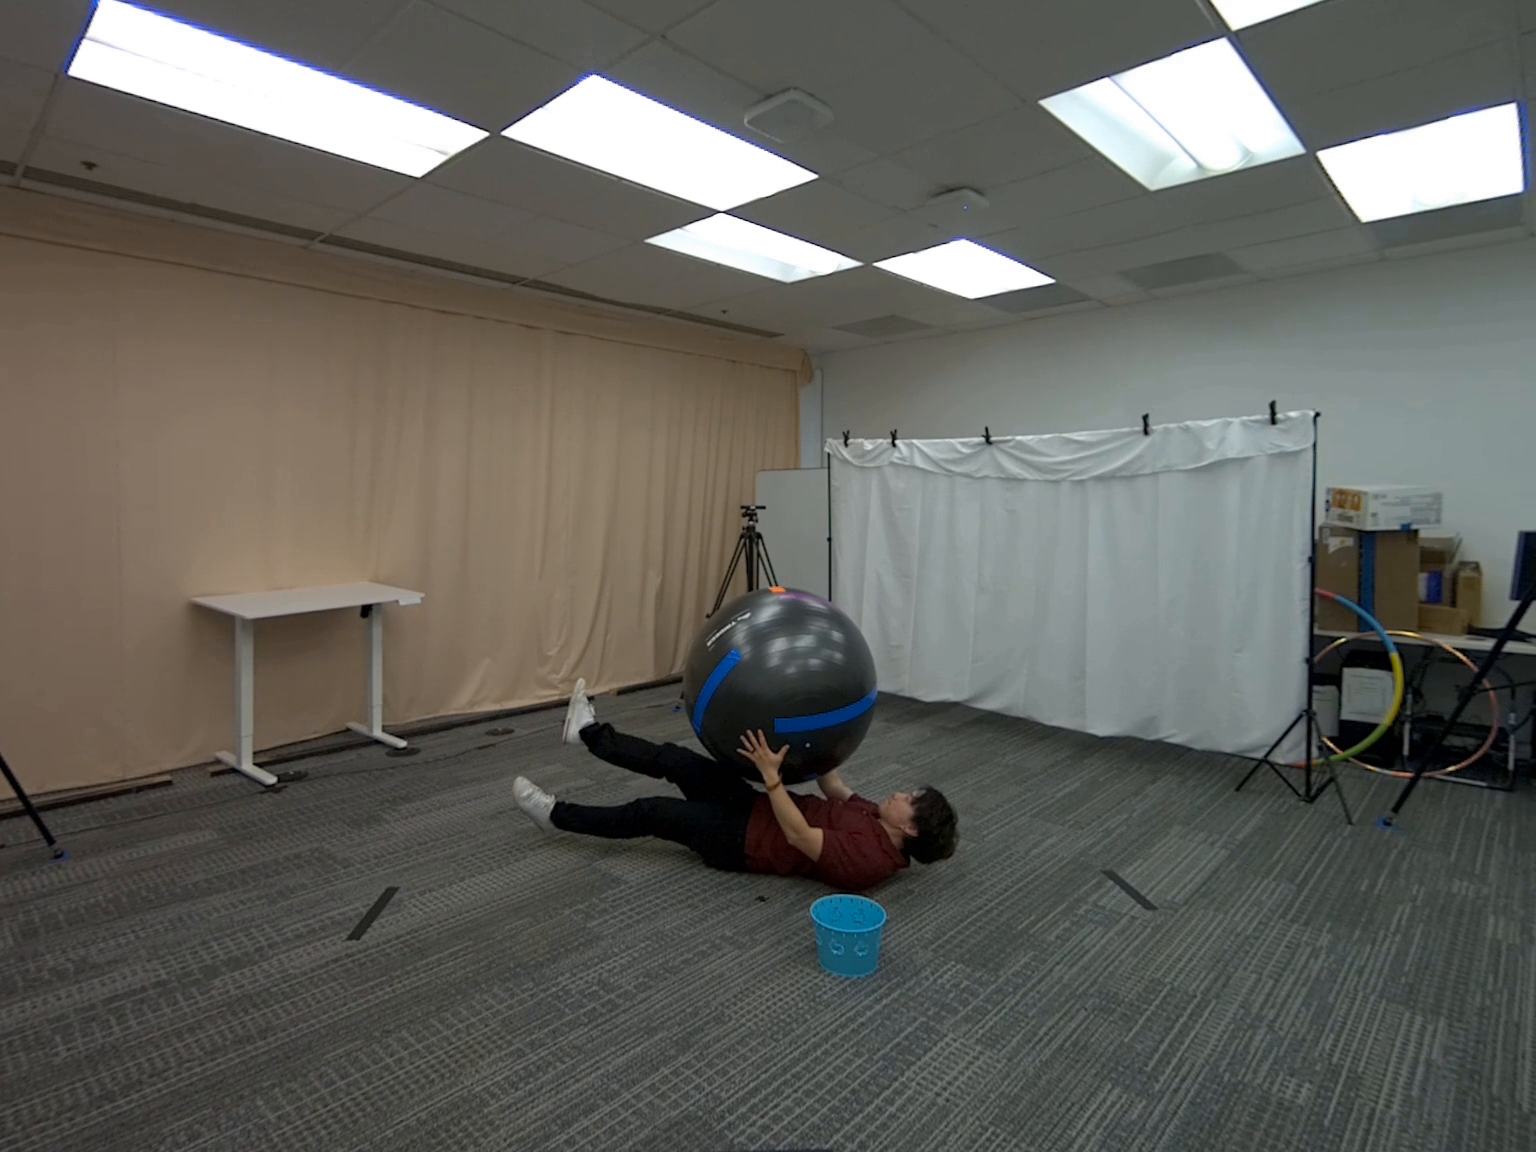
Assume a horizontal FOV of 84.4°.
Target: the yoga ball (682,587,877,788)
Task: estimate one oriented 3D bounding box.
[{"bbox_3d":[0.044,0.425,3.304,0.757,0.756,0.760,0,4,-2],"label":"yoga ball"}]
